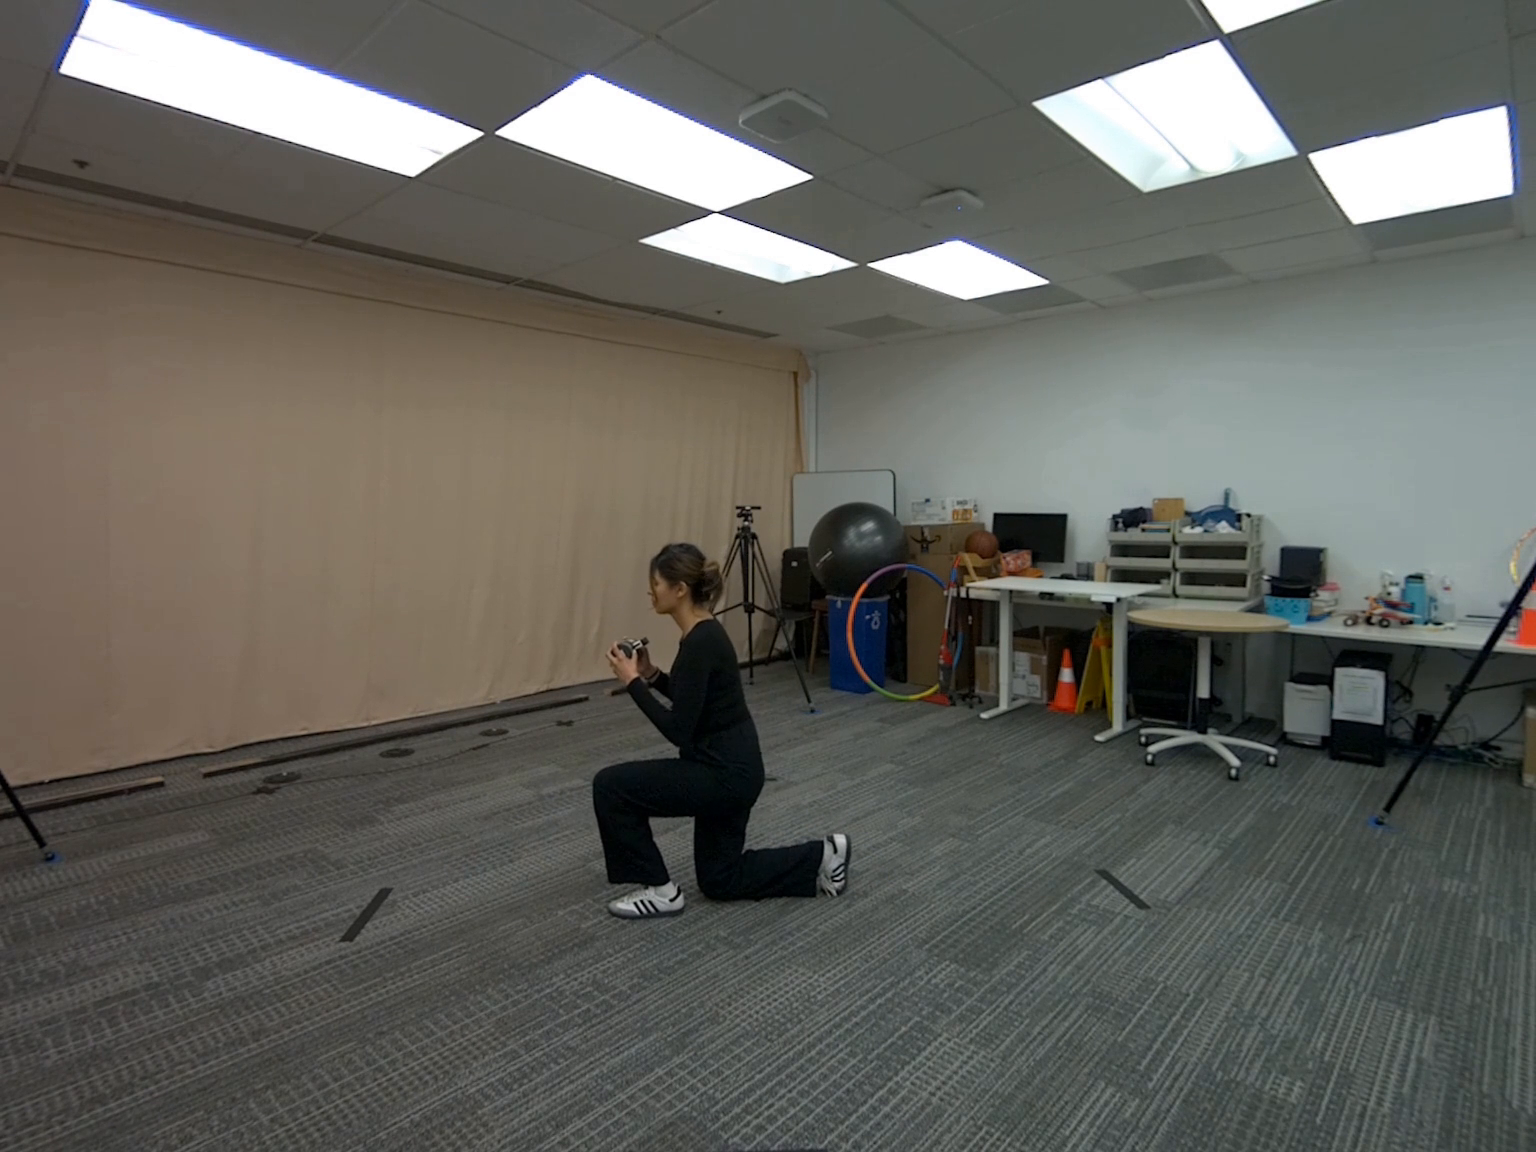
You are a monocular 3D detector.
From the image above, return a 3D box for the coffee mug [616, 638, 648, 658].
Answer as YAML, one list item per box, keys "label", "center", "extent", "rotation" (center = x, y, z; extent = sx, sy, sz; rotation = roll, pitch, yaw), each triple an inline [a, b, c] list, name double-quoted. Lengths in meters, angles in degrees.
- label: "coffee mug"
  center: [-0.484, 0.251, 2.924]
  extent: [0.088, 0.122, 0.202]
  rotation: [38, -6, 4]
